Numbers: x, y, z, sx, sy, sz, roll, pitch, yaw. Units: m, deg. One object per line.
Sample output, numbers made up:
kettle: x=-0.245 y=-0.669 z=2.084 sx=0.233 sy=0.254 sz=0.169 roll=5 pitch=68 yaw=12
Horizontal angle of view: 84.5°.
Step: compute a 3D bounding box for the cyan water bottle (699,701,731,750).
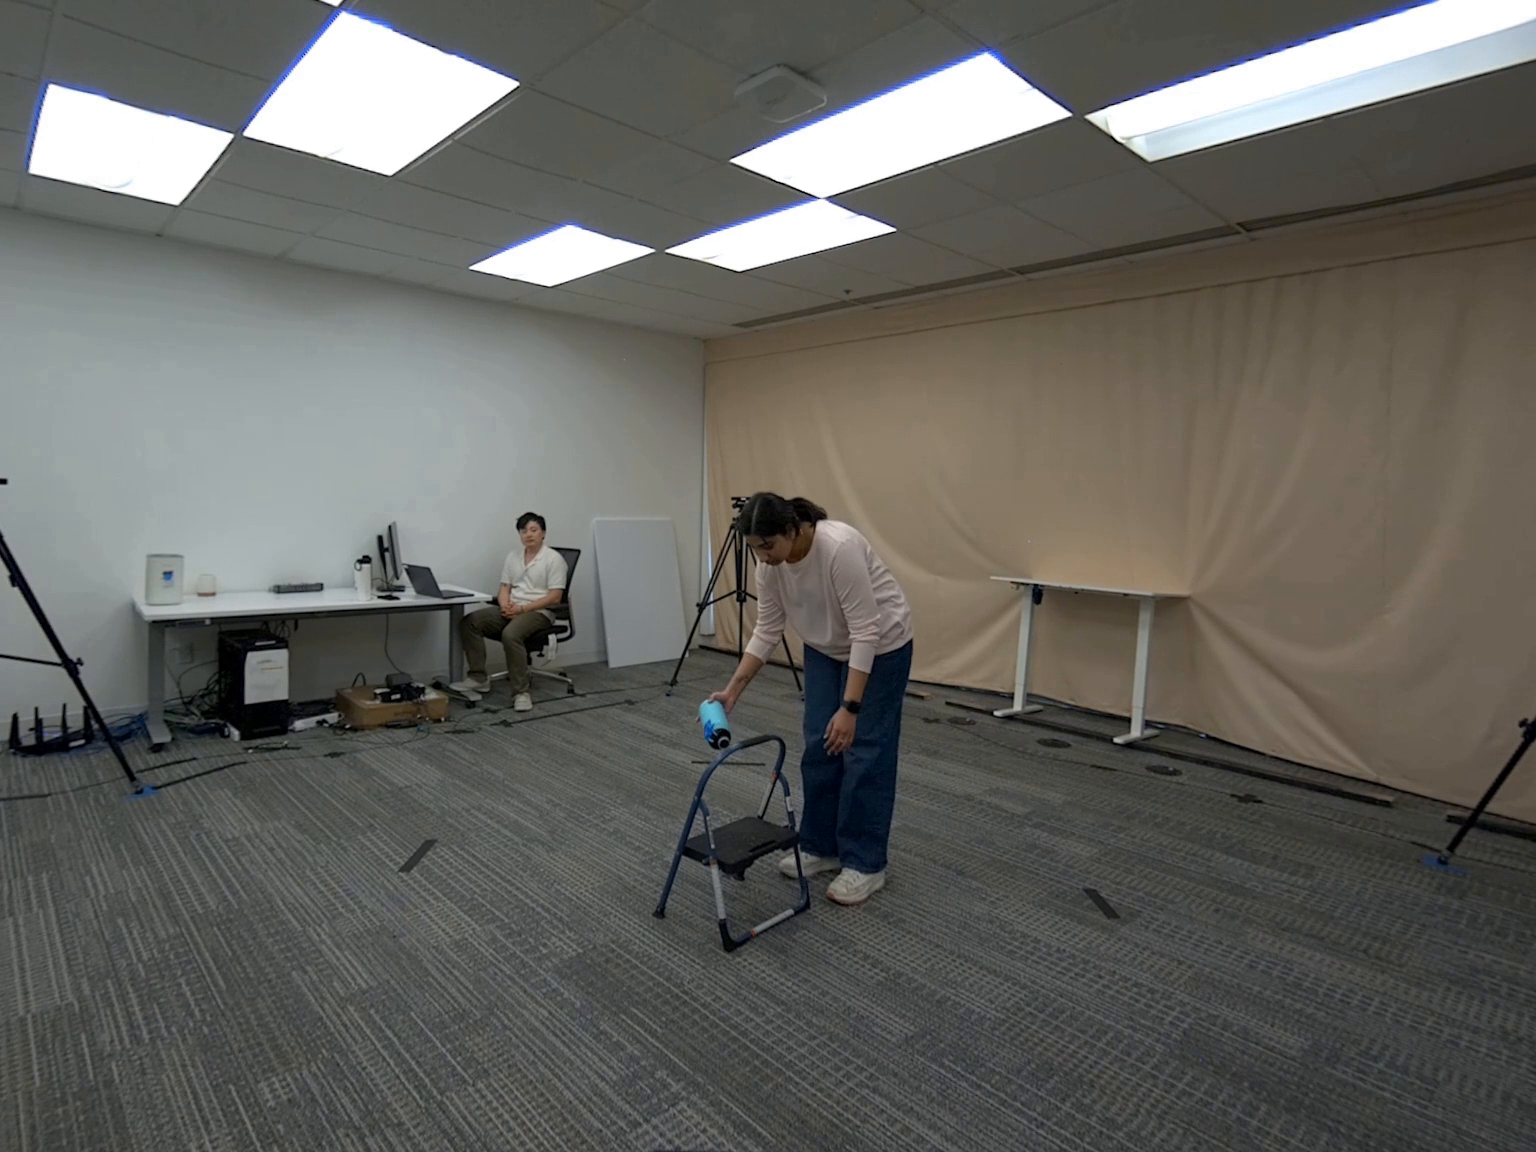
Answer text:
cyan water bottle: x=-0.186 y=0.514 z=2.910 sx=0.092 sy=0.091 sz=0.287 roll=1 pitch=11 yaw=-7
